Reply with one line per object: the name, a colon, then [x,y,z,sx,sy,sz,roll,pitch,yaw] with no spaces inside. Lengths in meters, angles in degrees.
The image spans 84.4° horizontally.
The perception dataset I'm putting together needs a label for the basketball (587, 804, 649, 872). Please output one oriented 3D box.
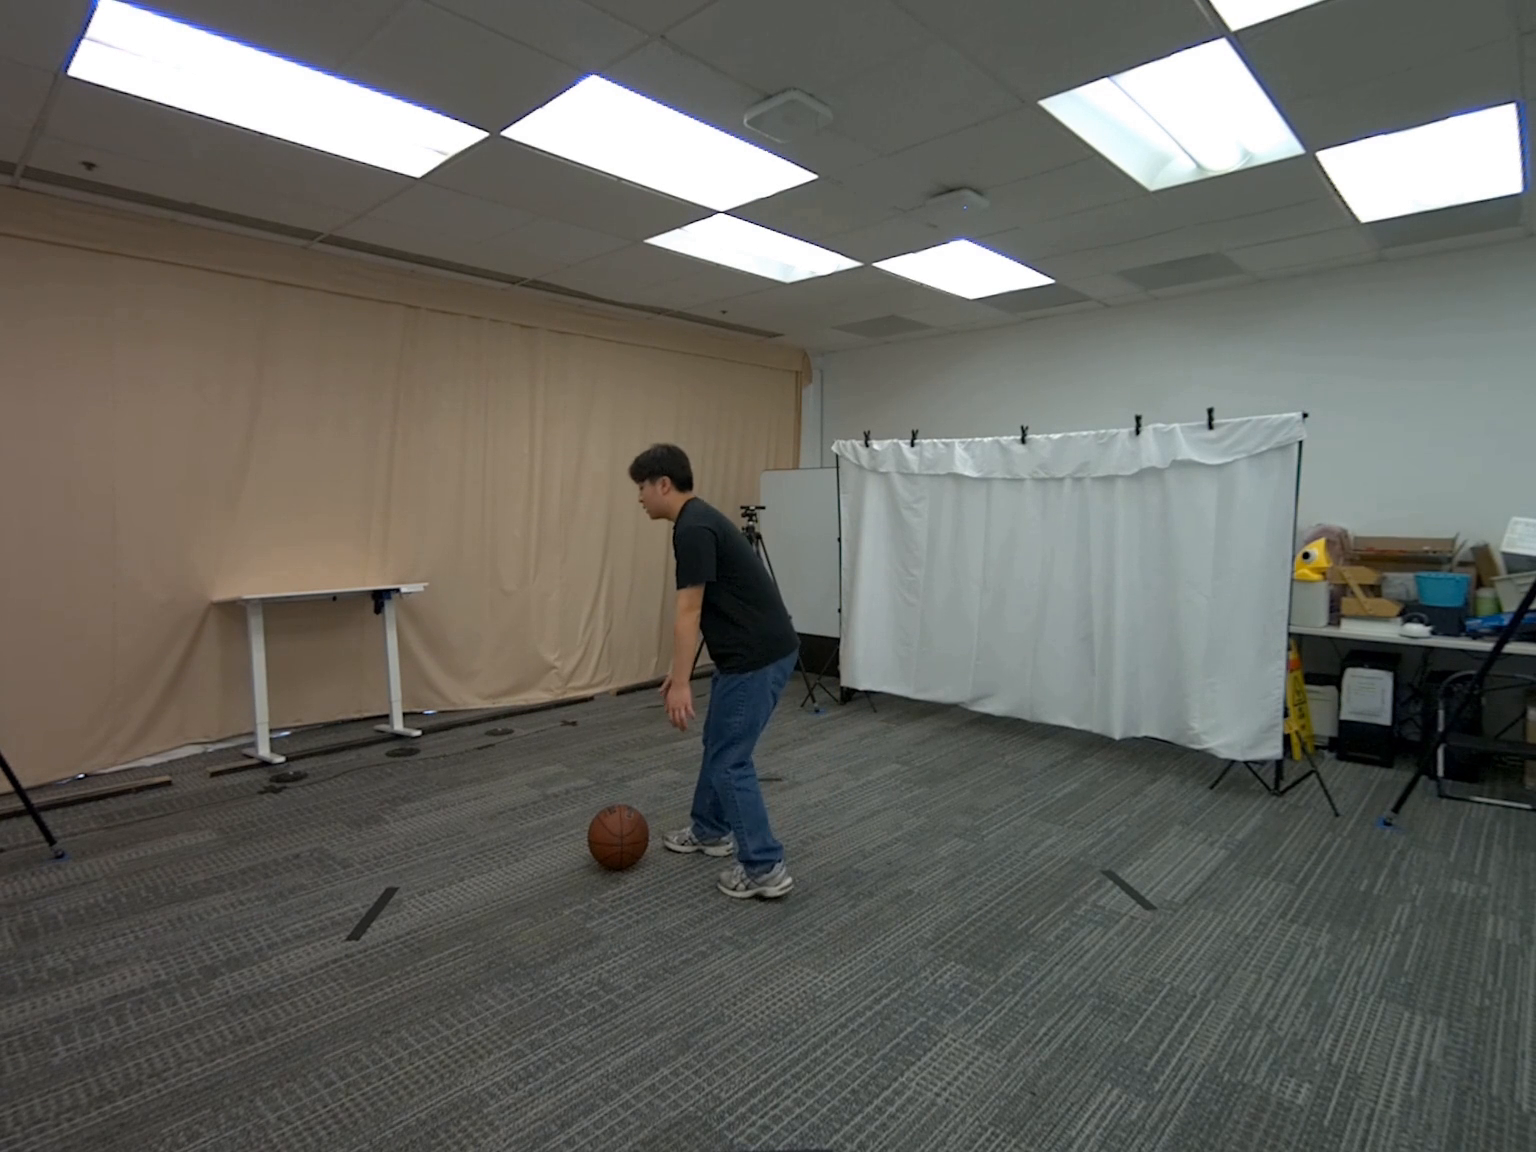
basketball: [-0.578,1.002,3.256,0.236,0.235,0.237,0,4,-2]
